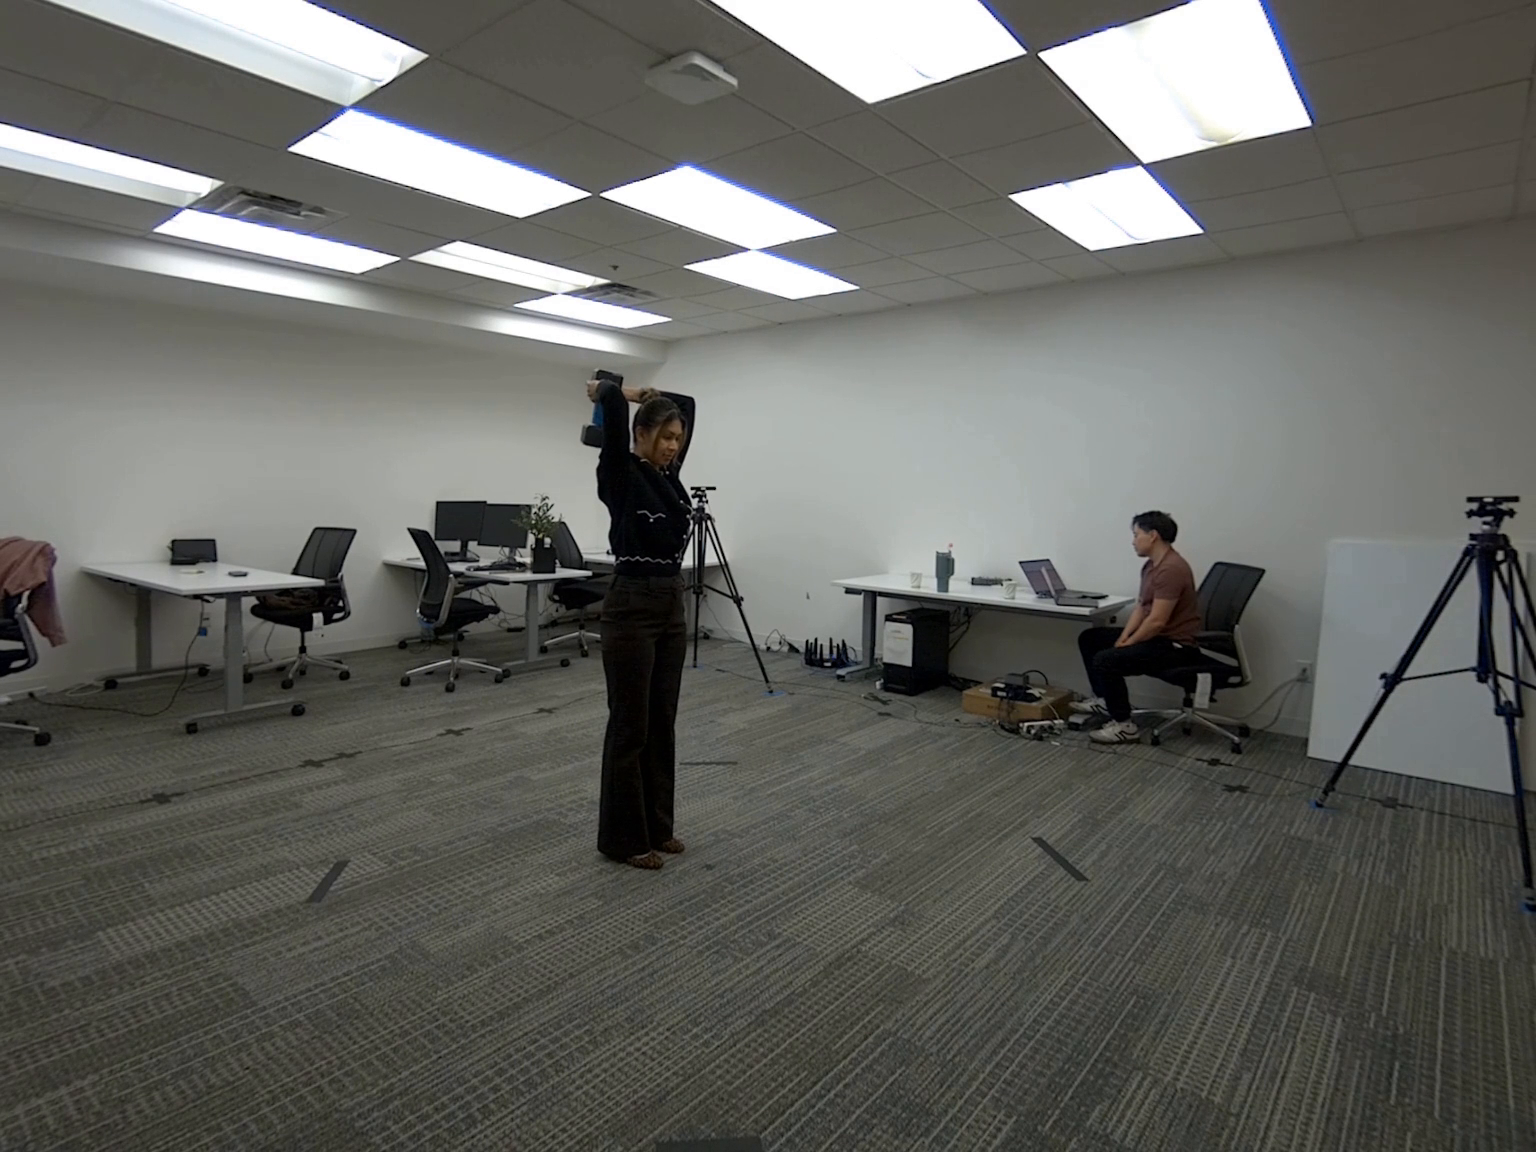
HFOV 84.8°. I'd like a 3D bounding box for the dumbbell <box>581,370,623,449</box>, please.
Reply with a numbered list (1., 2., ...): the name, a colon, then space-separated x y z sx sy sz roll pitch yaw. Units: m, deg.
1. dumbbell: -0.645 -0.642 3.251 0.123 0.291 0.109 14 11 2
